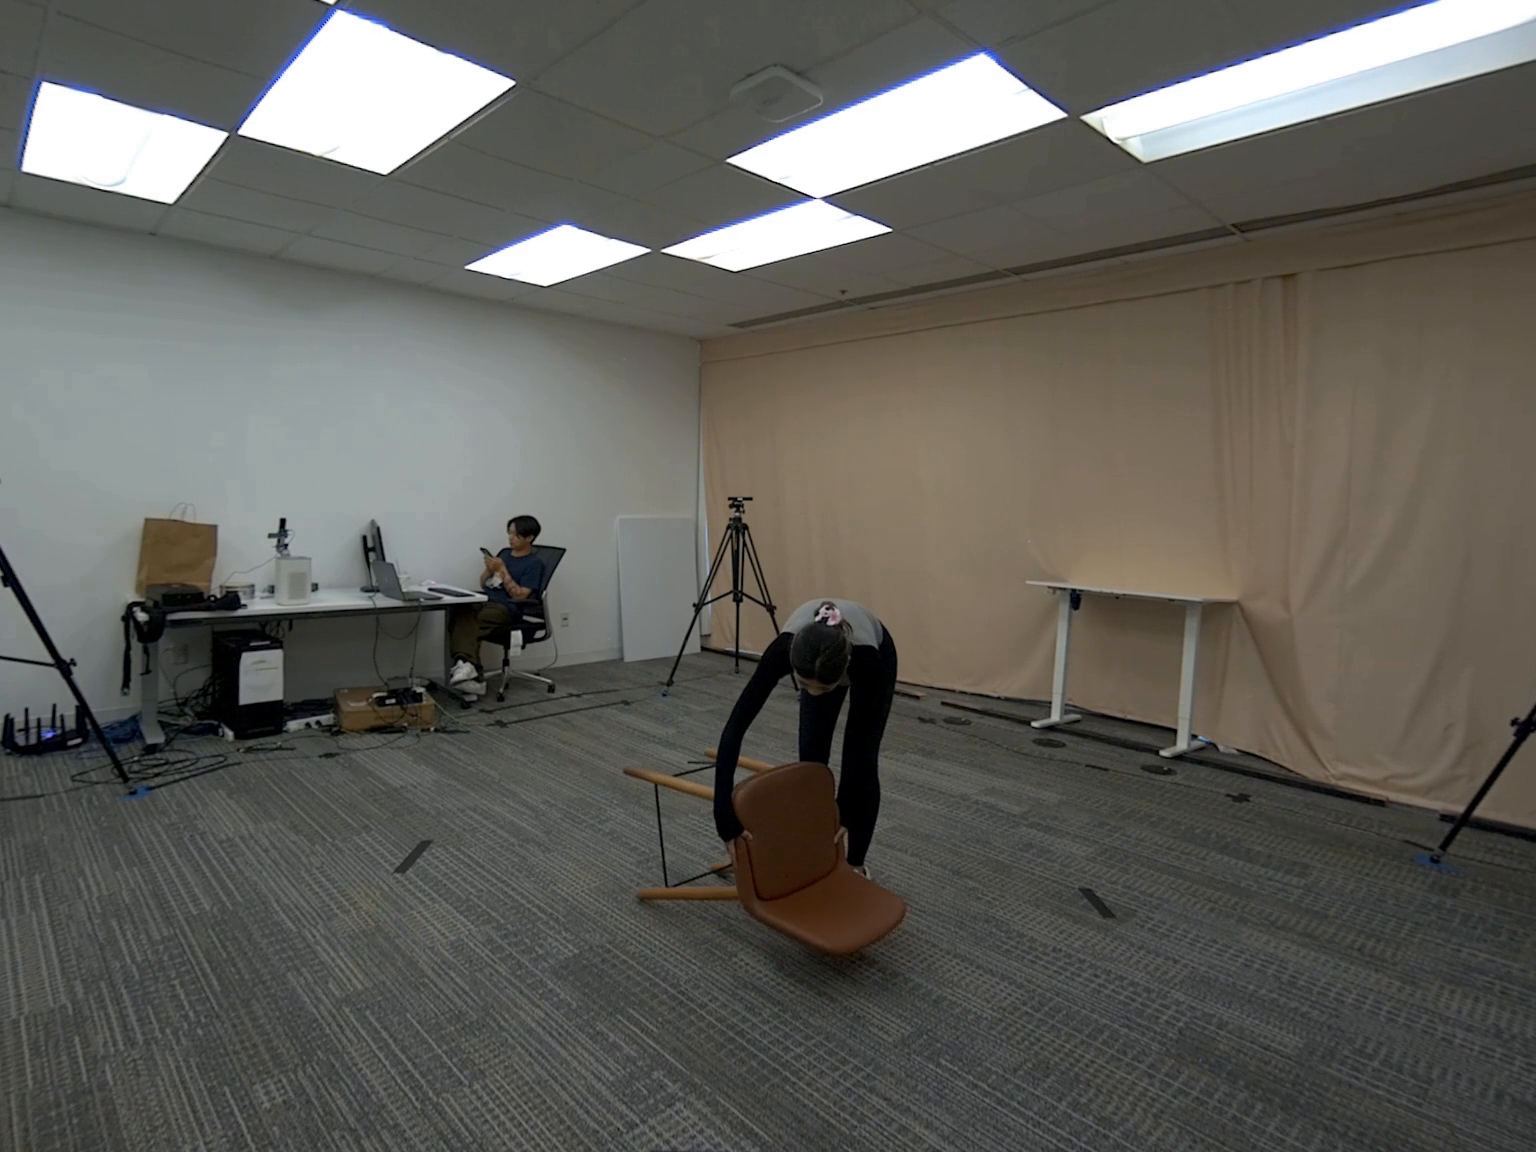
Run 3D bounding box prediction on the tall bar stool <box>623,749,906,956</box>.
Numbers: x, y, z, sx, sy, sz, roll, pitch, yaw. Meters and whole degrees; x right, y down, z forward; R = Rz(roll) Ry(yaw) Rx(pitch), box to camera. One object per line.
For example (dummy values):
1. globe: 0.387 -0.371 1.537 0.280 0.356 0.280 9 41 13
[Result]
1. tall bar stool: -0.042 0.847 2.722 0.446 0.469 0.908 -1 -3 -44
